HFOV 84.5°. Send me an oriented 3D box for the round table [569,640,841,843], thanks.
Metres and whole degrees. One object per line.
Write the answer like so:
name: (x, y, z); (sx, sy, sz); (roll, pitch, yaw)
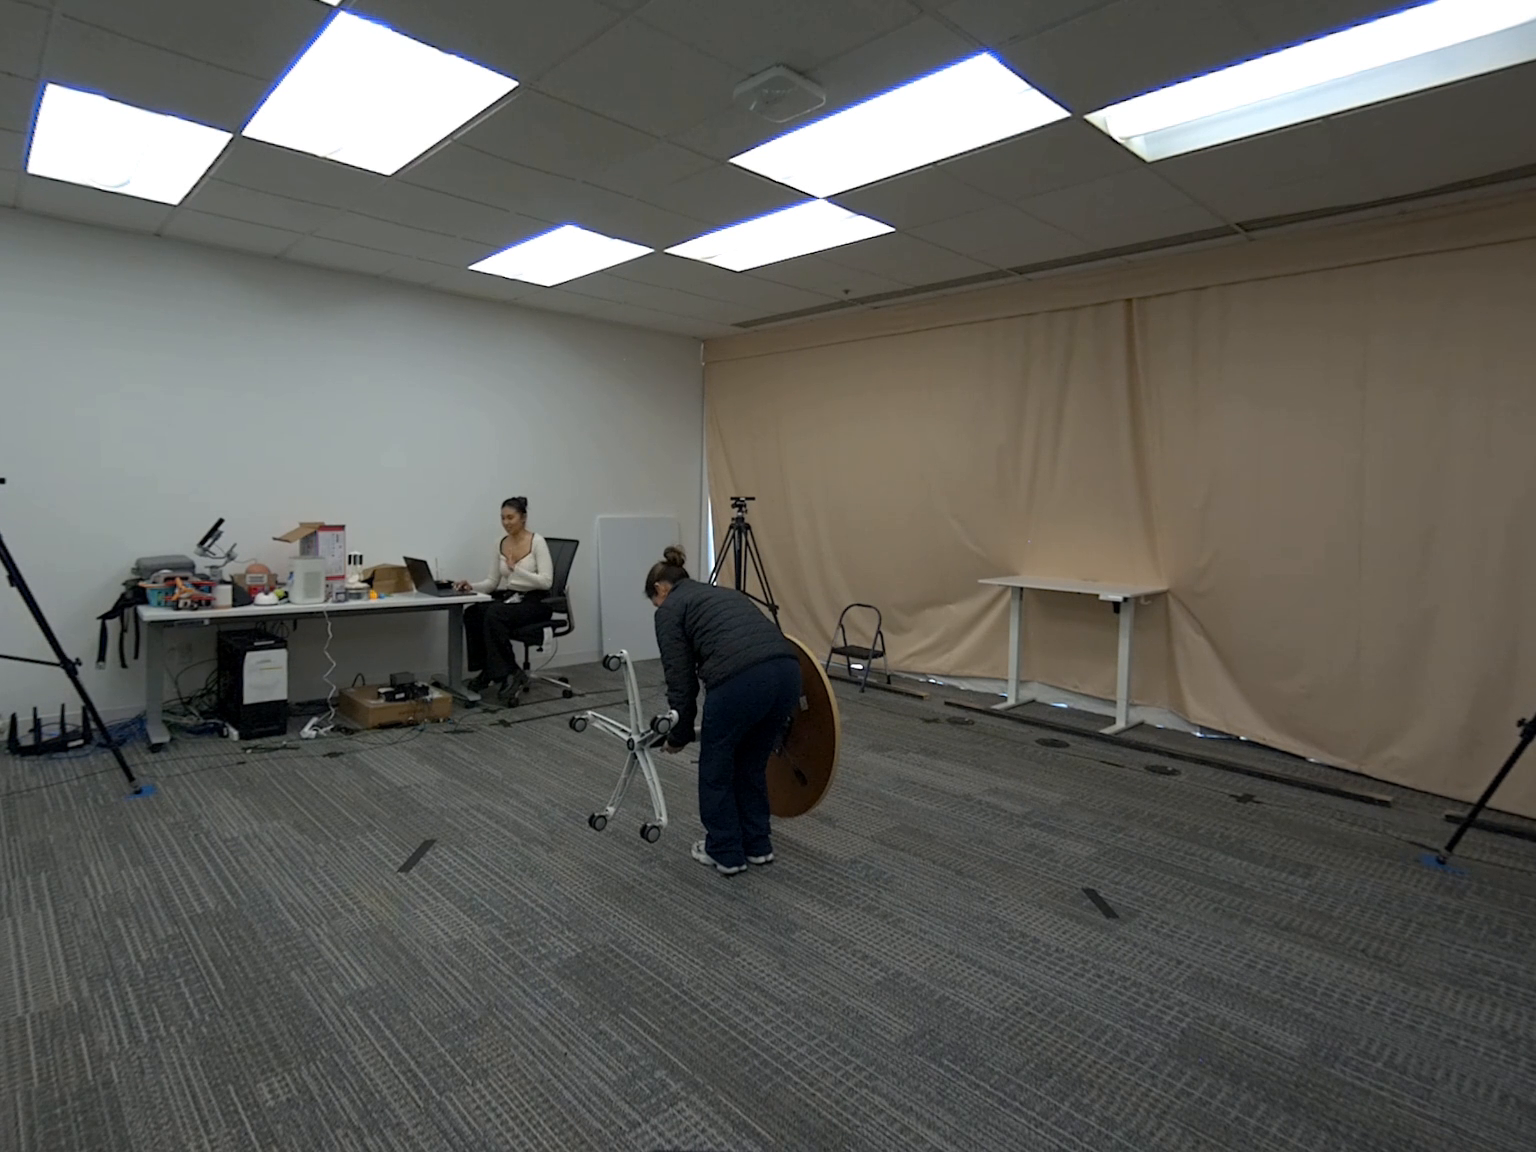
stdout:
round table: (-0.264, 0.633, 3.299); (0.768, 0.783, 0.805); (-1, 5, -39)
